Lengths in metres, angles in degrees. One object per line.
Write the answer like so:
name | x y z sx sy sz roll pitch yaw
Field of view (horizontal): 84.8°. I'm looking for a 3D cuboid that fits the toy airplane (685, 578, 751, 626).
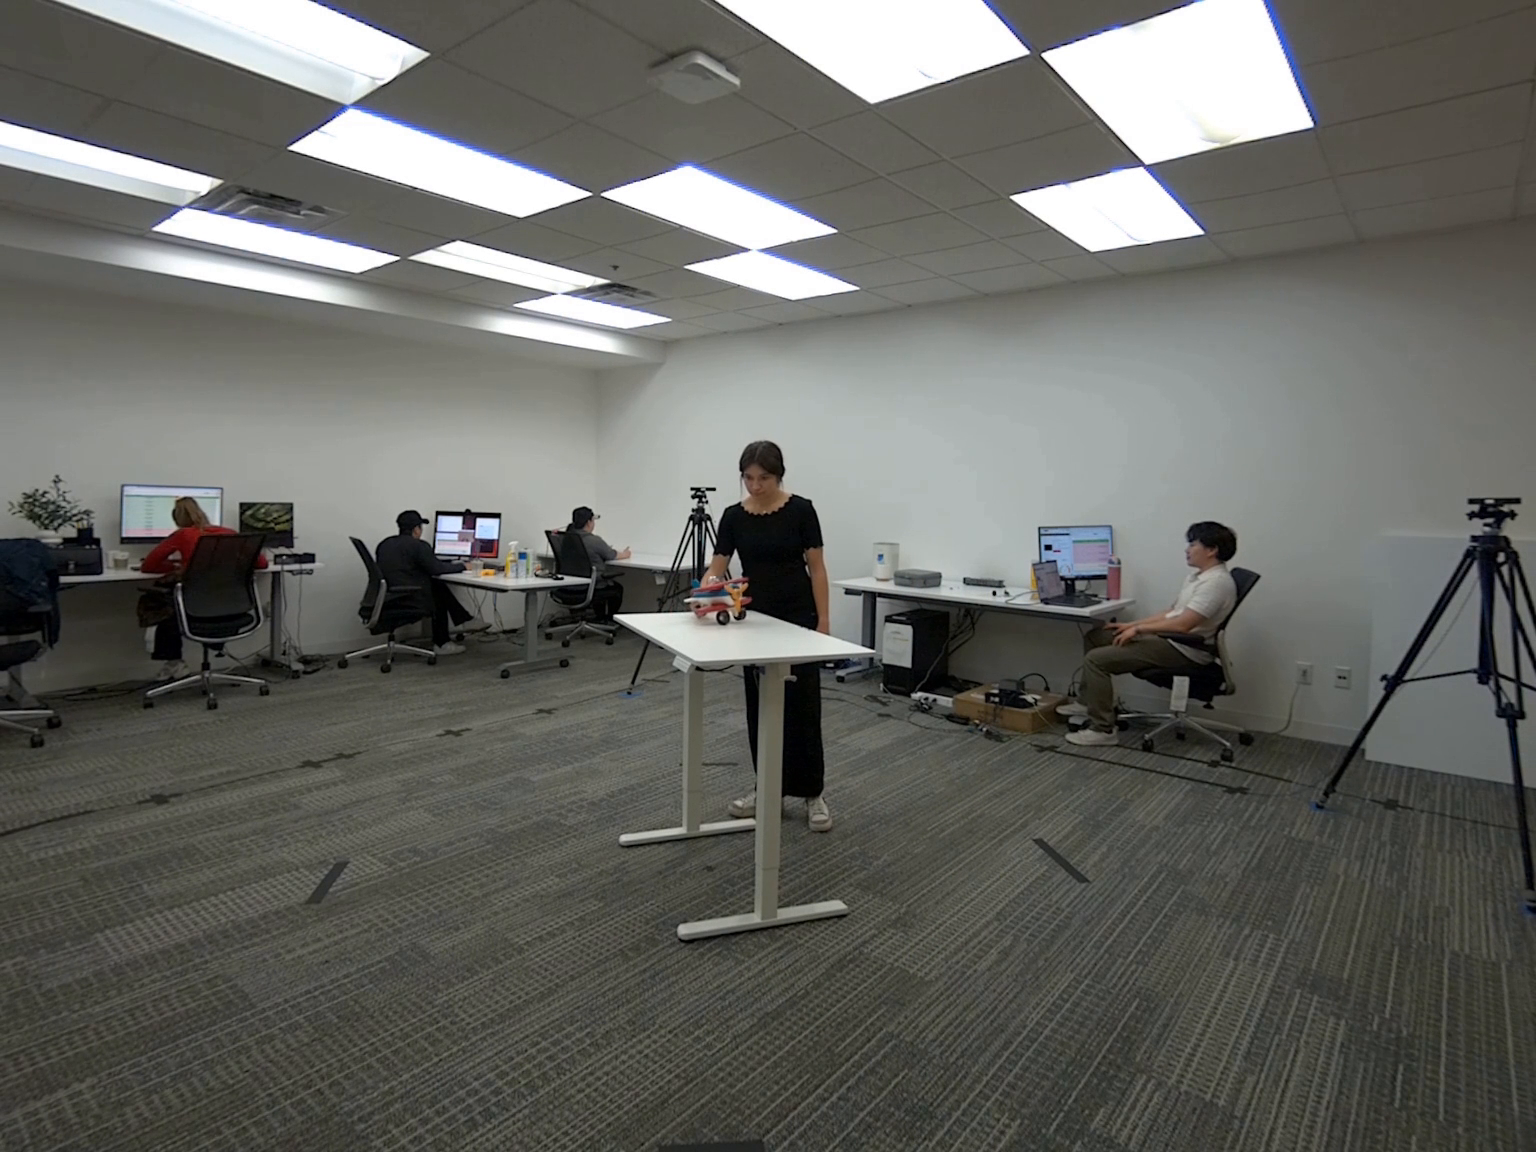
toy airplane | -0.220 0.086 3.238 0.264 0.155 0.249 4 13 18
